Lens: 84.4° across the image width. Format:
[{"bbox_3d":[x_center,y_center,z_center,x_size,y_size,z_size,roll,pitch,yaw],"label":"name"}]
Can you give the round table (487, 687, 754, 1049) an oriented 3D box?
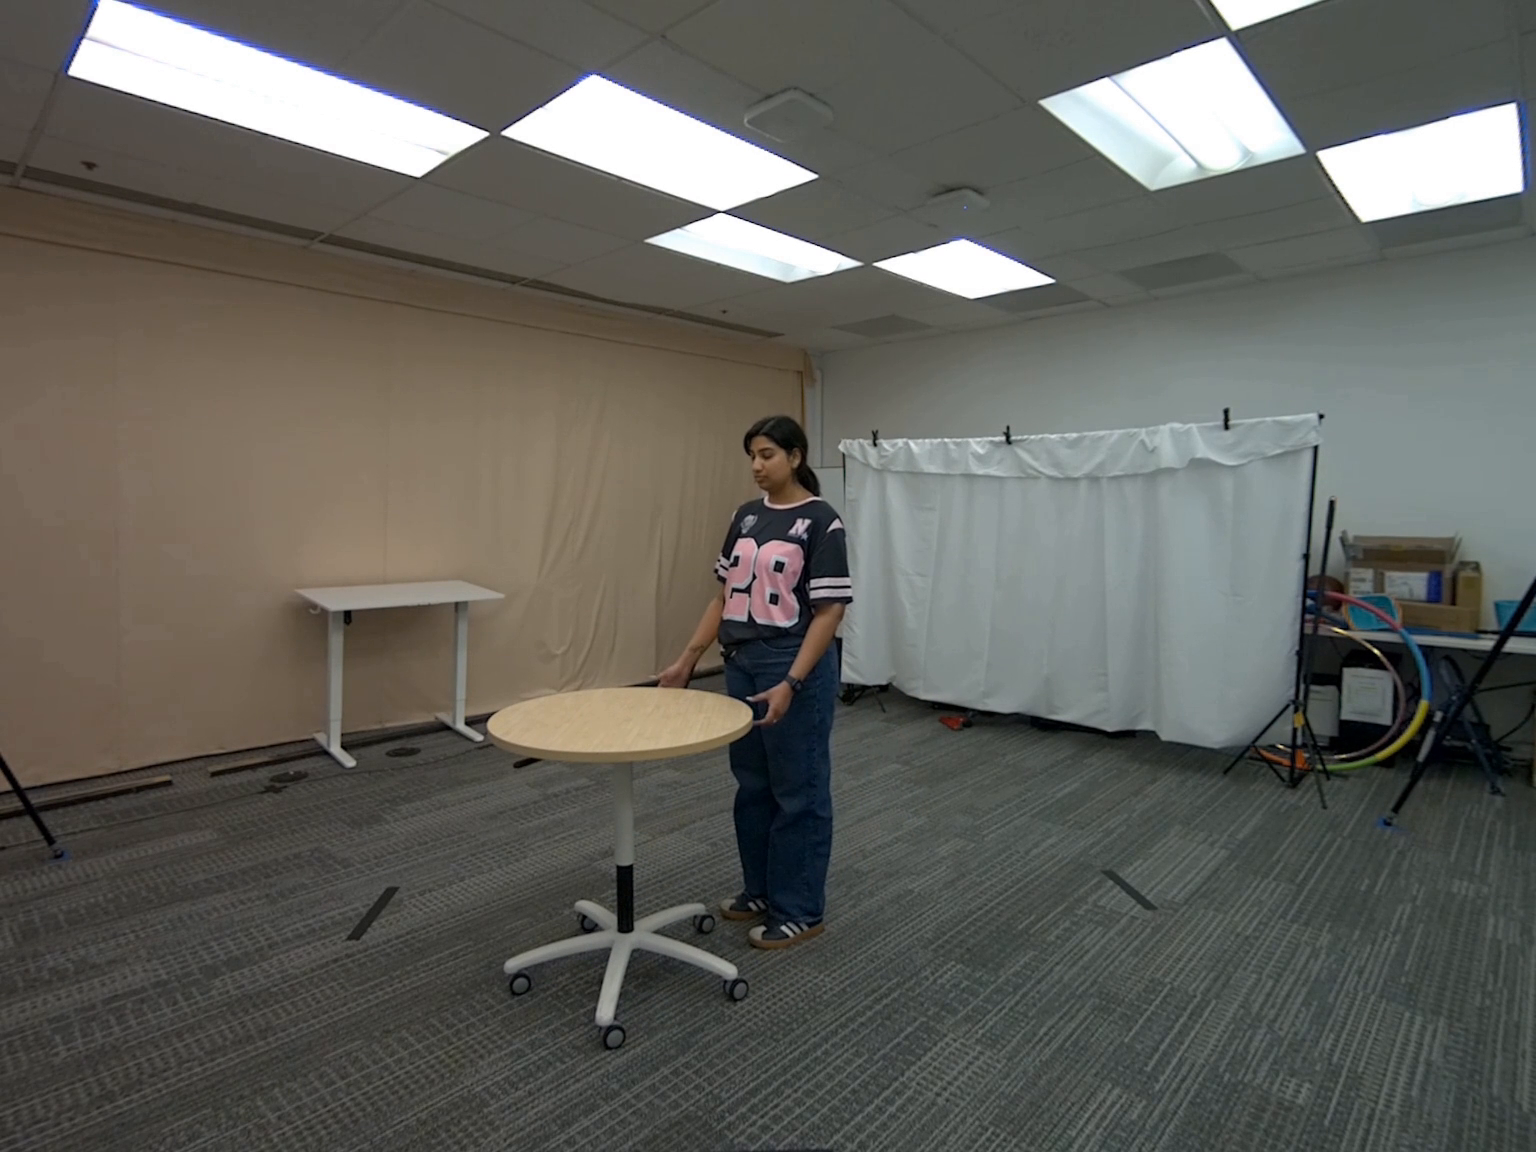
[{"bbox_3d":[-0.405,0.794,2.485,0.784,0.785,0.788,-1,4,-2],"label":"round table"}]
